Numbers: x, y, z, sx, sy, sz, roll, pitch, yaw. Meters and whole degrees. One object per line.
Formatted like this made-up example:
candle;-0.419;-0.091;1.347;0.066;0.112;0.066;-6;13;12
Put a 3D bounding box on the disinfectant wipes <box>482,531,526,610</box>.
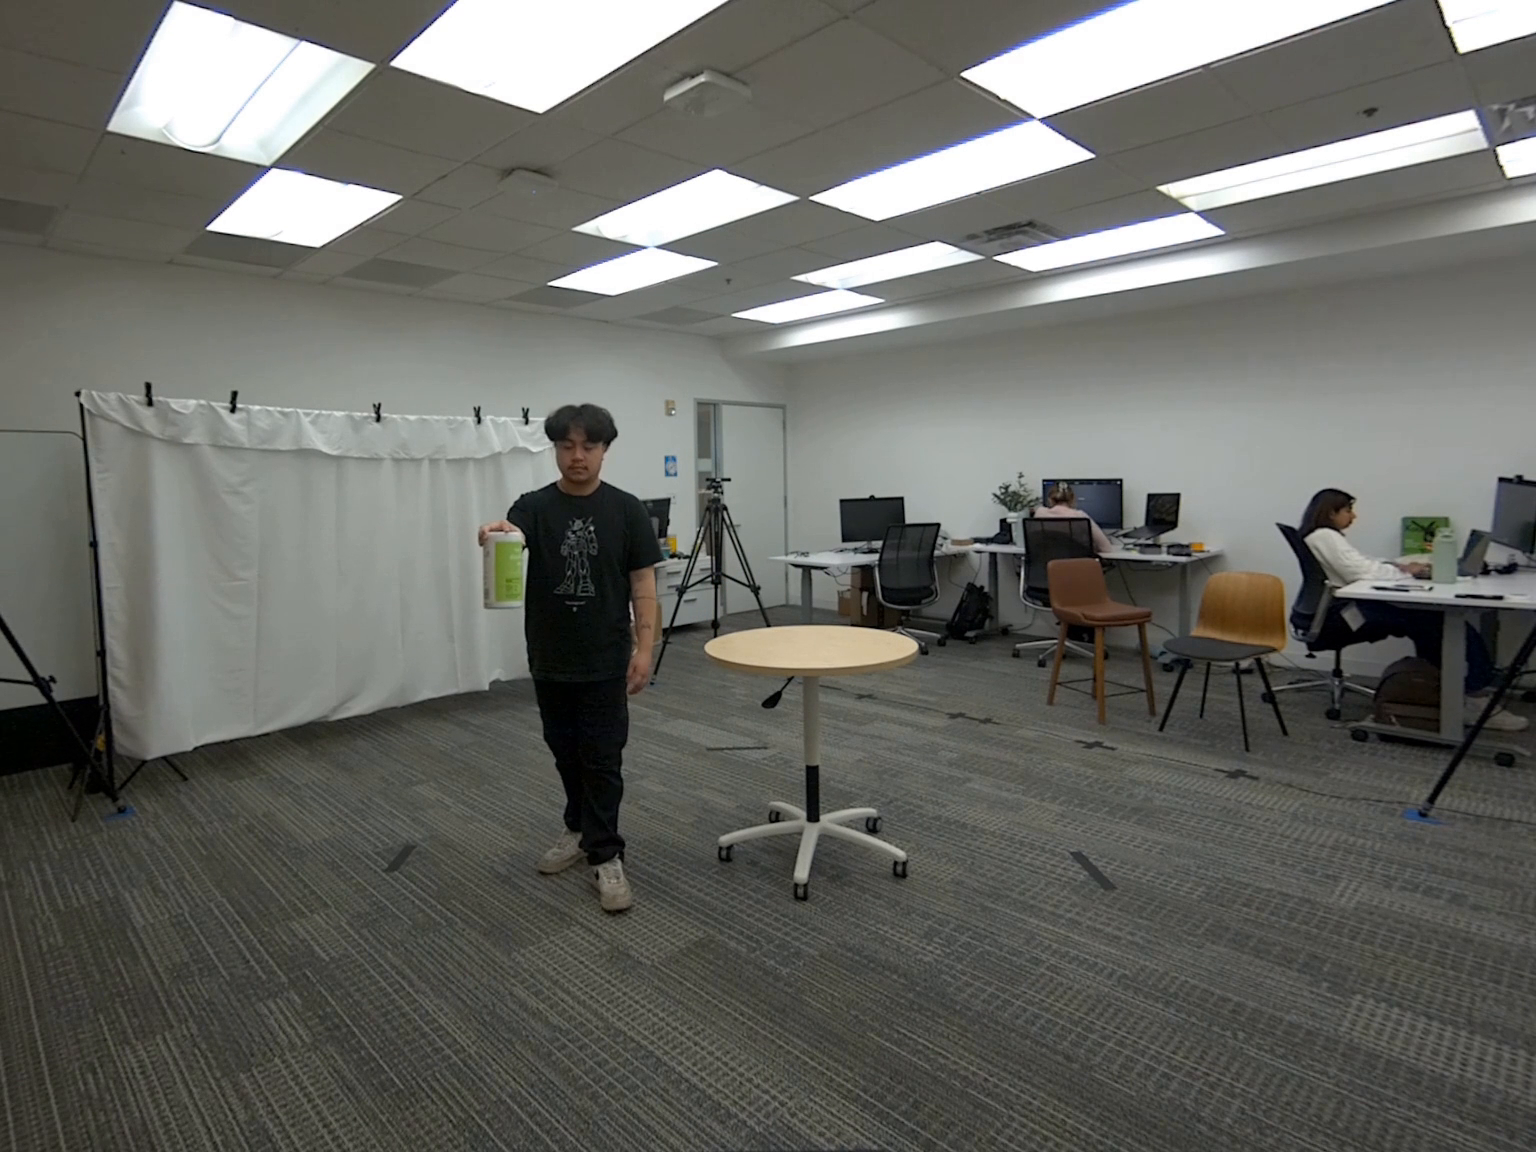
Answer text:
disinfectant wipes;-0.756;-0.012;2.420;0.118;0.218;0.118;-3;-2;-2
